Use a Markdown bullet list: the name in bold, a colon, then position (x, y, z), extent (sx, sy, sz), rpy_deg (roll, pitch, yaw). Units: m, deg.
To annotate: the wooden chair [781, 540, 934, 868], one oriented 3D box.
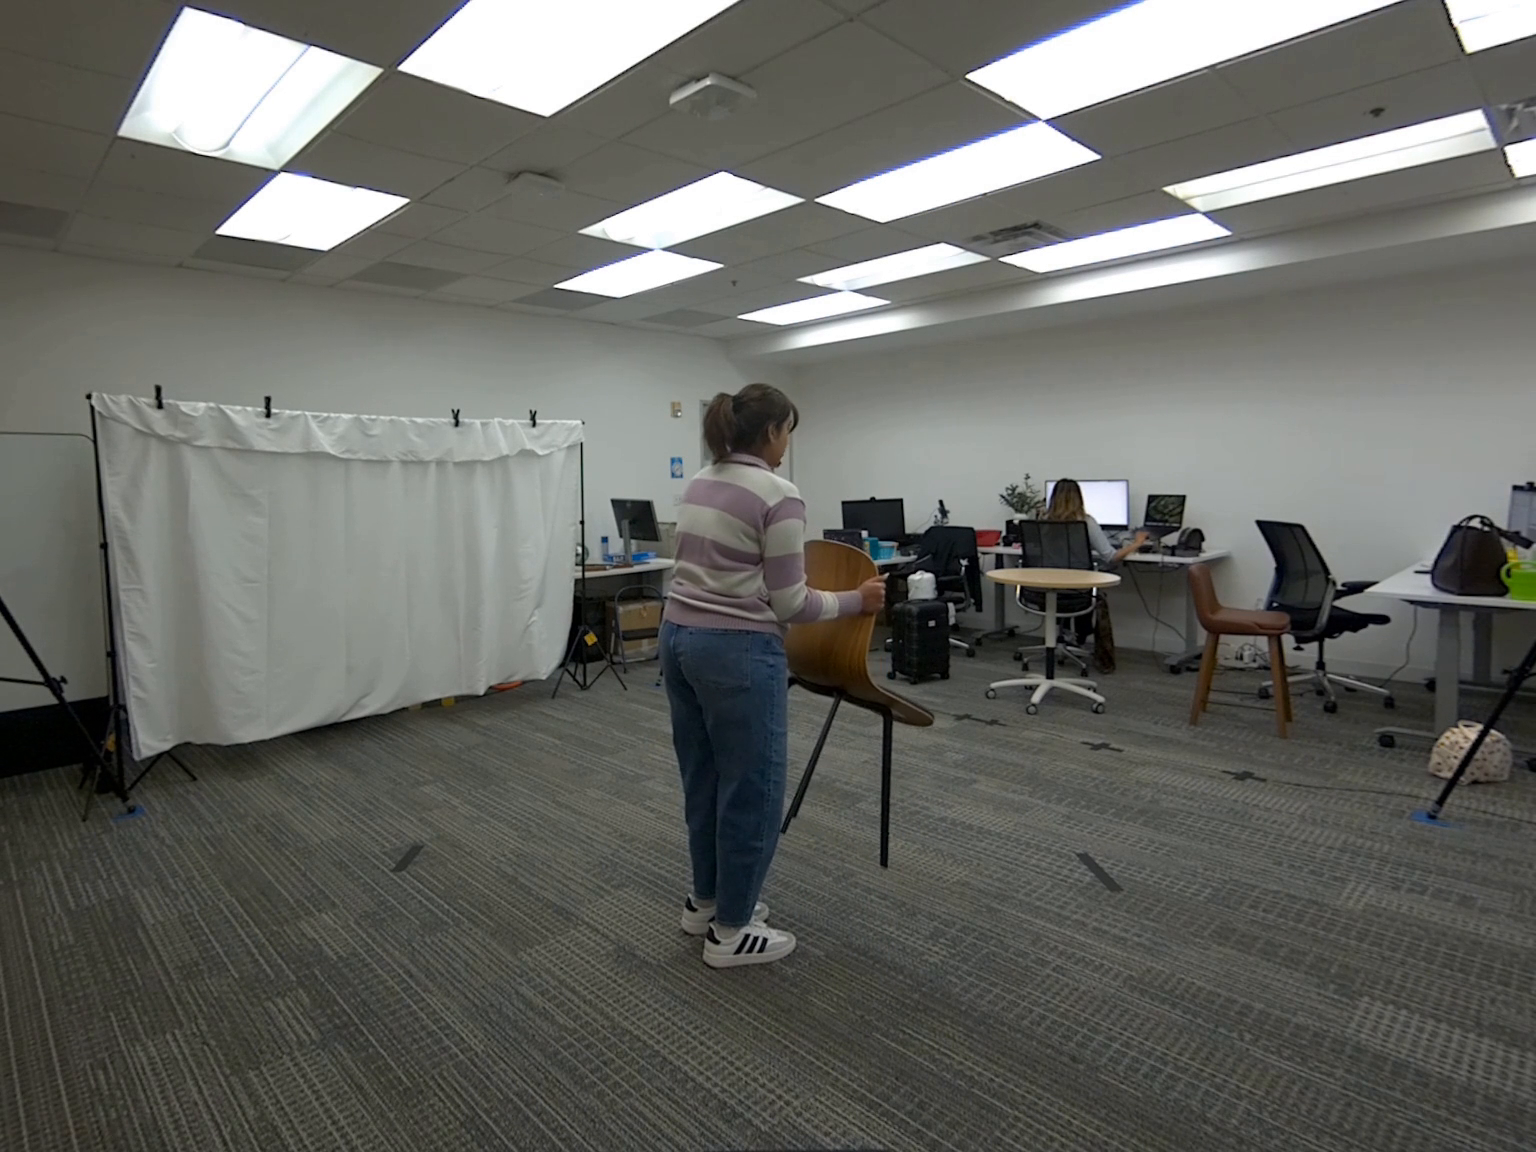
- **wooden chair**: position (0.235, 0.385, 2.728), extent (0.505, 0.882, 0.492), rpy_deg (24, -10, -35)
